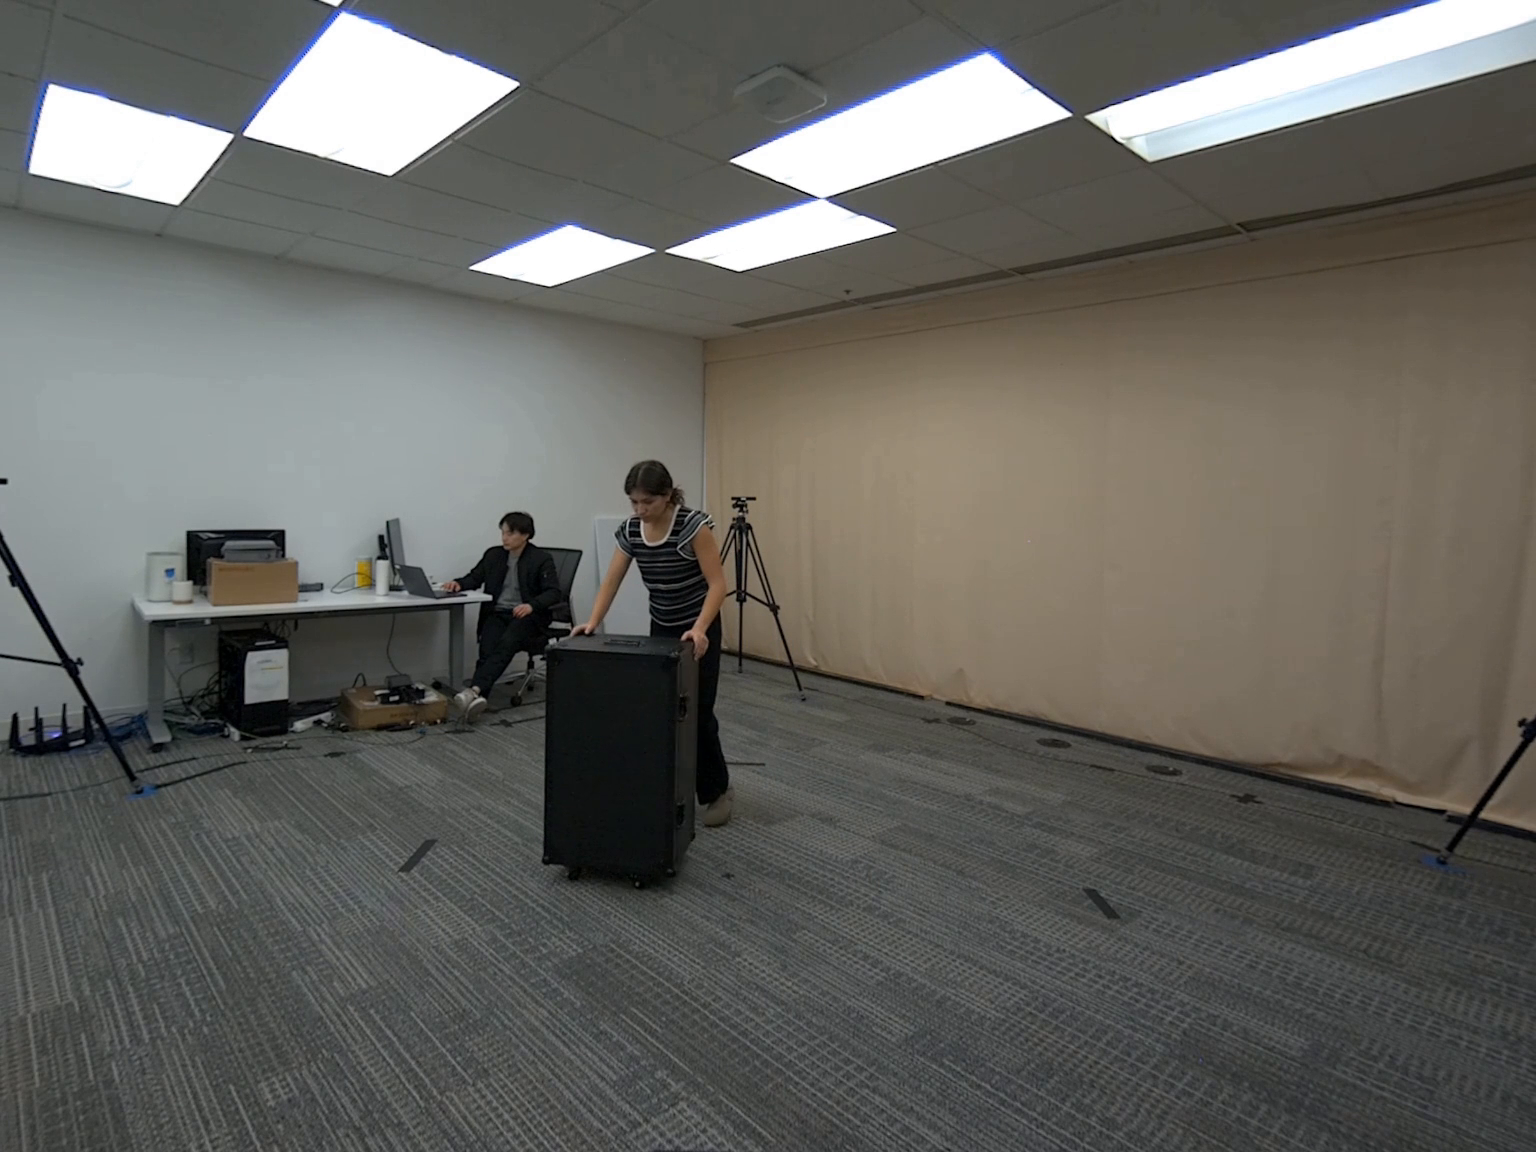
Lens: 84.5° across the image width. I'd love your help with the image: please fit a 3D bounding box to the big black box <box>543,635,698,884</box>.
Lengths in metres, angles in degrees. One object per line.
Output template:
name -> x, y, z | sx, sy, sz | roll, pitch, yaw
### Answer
big black box -> -0.548, 0.671, 3.126 | 0.526, 0.859, 0.394 | 2, 3, 10
